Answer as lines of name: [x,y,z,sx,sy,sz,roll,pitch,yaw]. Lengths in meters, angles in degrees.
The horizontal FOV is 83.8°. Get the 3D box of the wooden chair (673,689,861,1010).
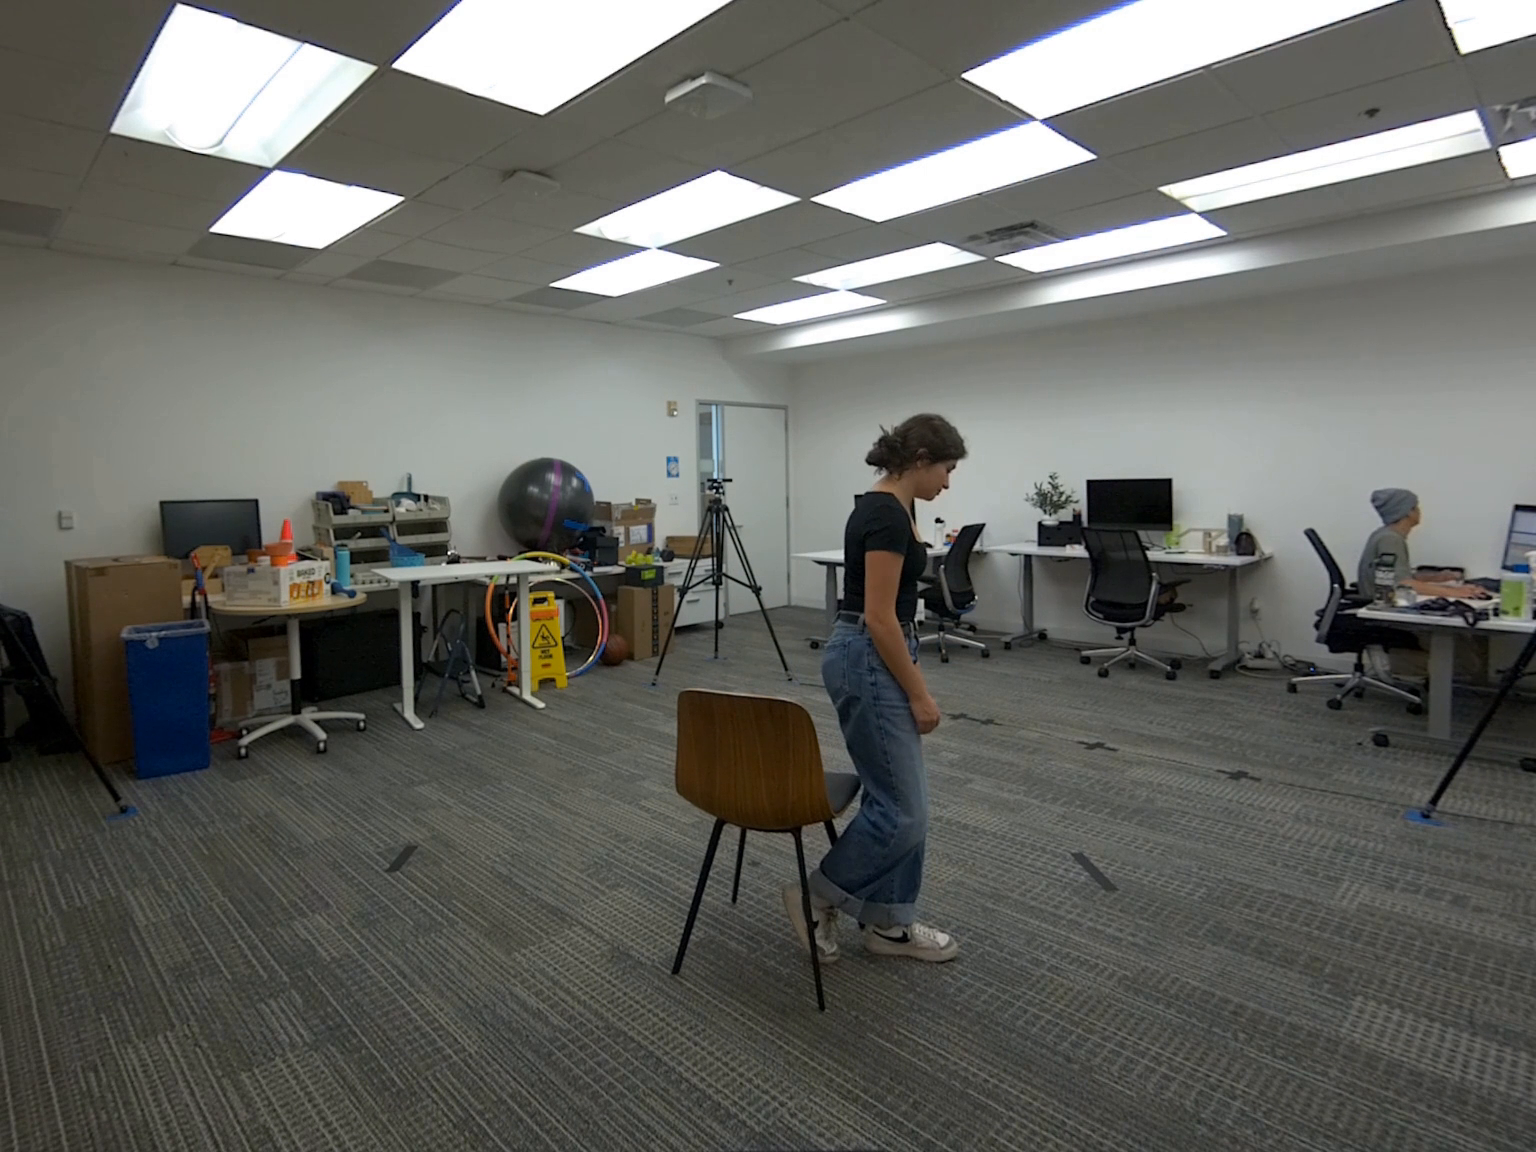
wooden chair: [0.012,0.686,2.511,0.488,0.870,0.516,1,9,22]
